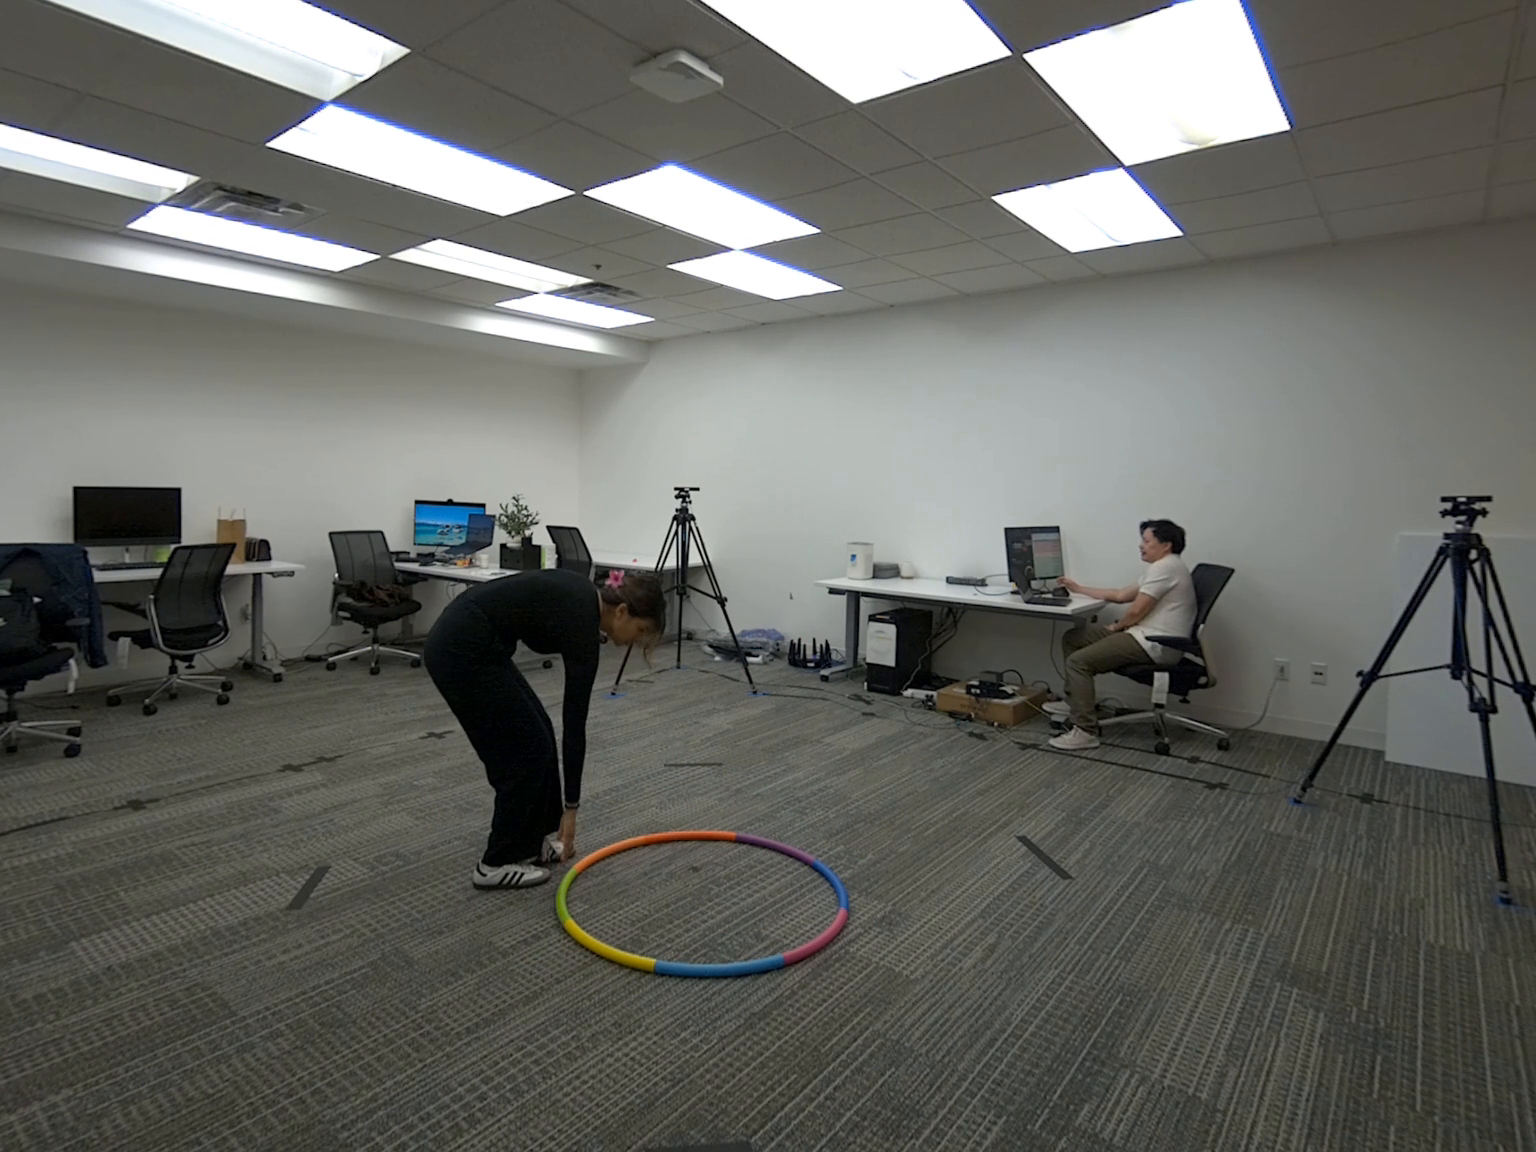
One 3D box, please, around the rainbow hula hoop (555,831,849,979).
[{"bbox_3d":[-0.234,1.055,2.894,0.978,0.035,0.984,1,6,-2],"label":"rainbow hula hoop"}]
